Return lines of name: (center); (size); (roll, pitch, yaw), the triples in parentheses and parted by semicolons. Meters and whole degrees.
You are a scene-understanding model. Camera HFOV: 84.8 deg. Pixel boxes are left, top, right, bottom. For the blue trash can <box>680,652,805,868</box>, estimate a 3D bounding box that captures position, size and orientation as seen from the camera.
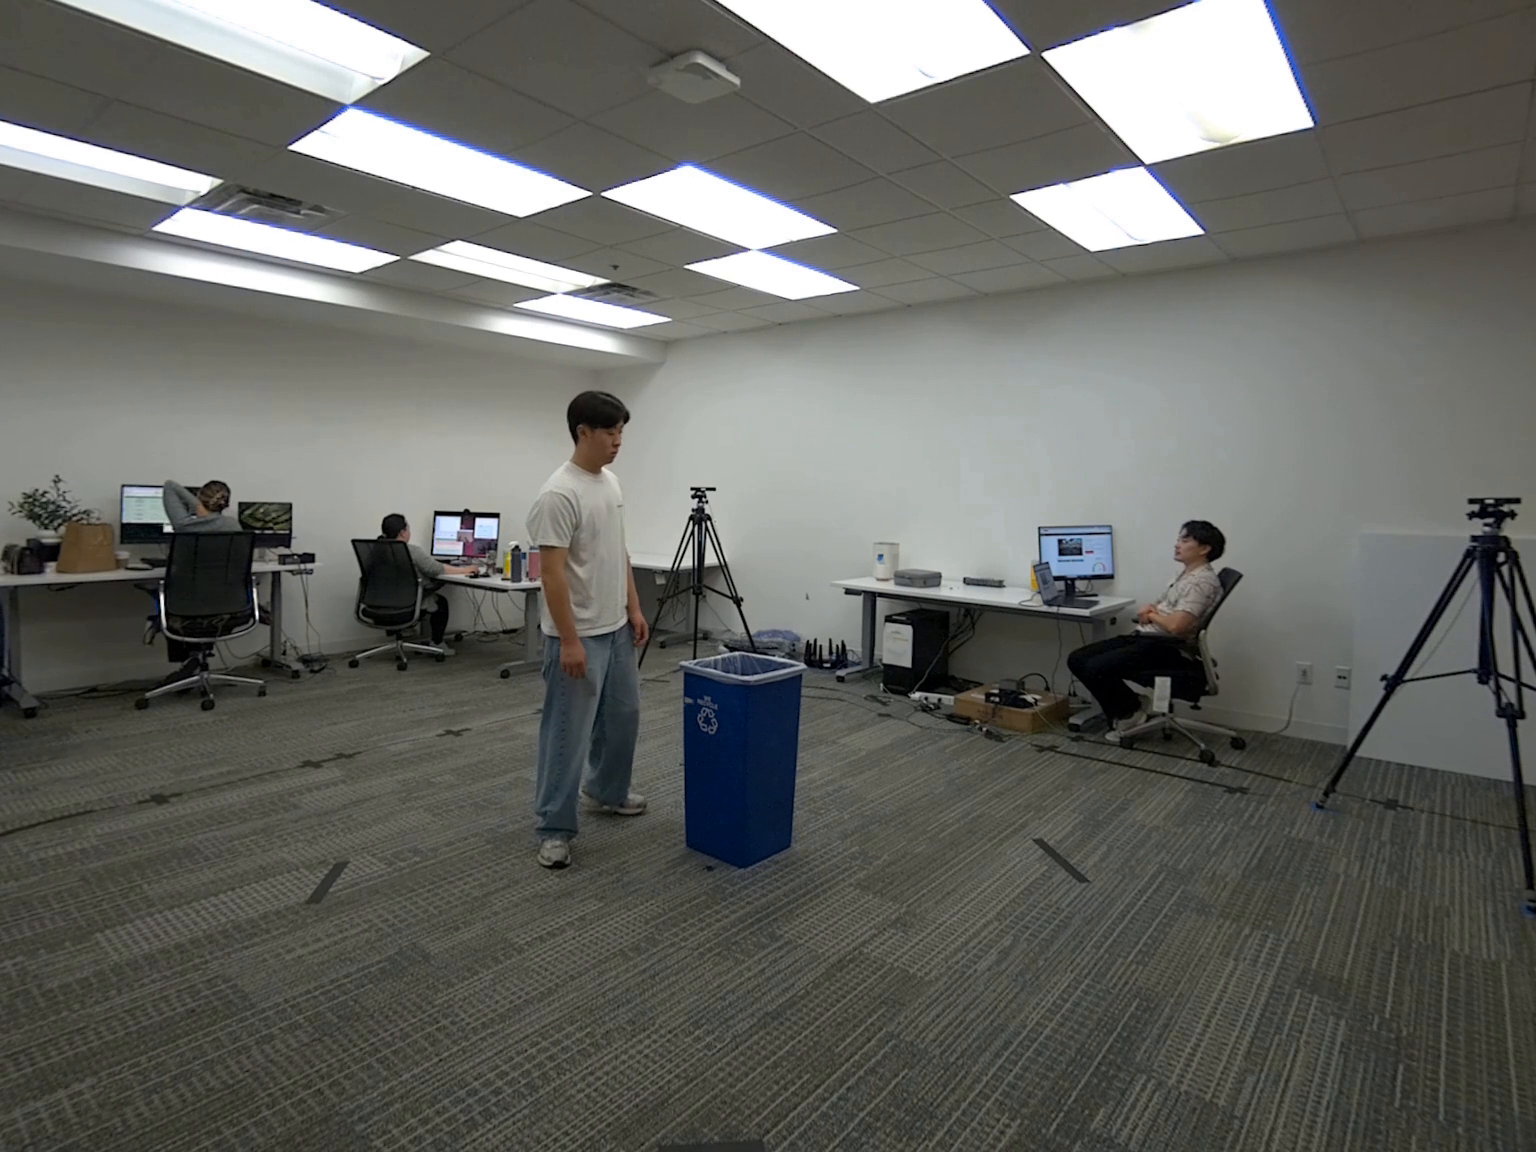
blue trash can: (-0.106, 0.693, 3.290); (0.386, 0.711, 0.367); (3, 4, 40)
